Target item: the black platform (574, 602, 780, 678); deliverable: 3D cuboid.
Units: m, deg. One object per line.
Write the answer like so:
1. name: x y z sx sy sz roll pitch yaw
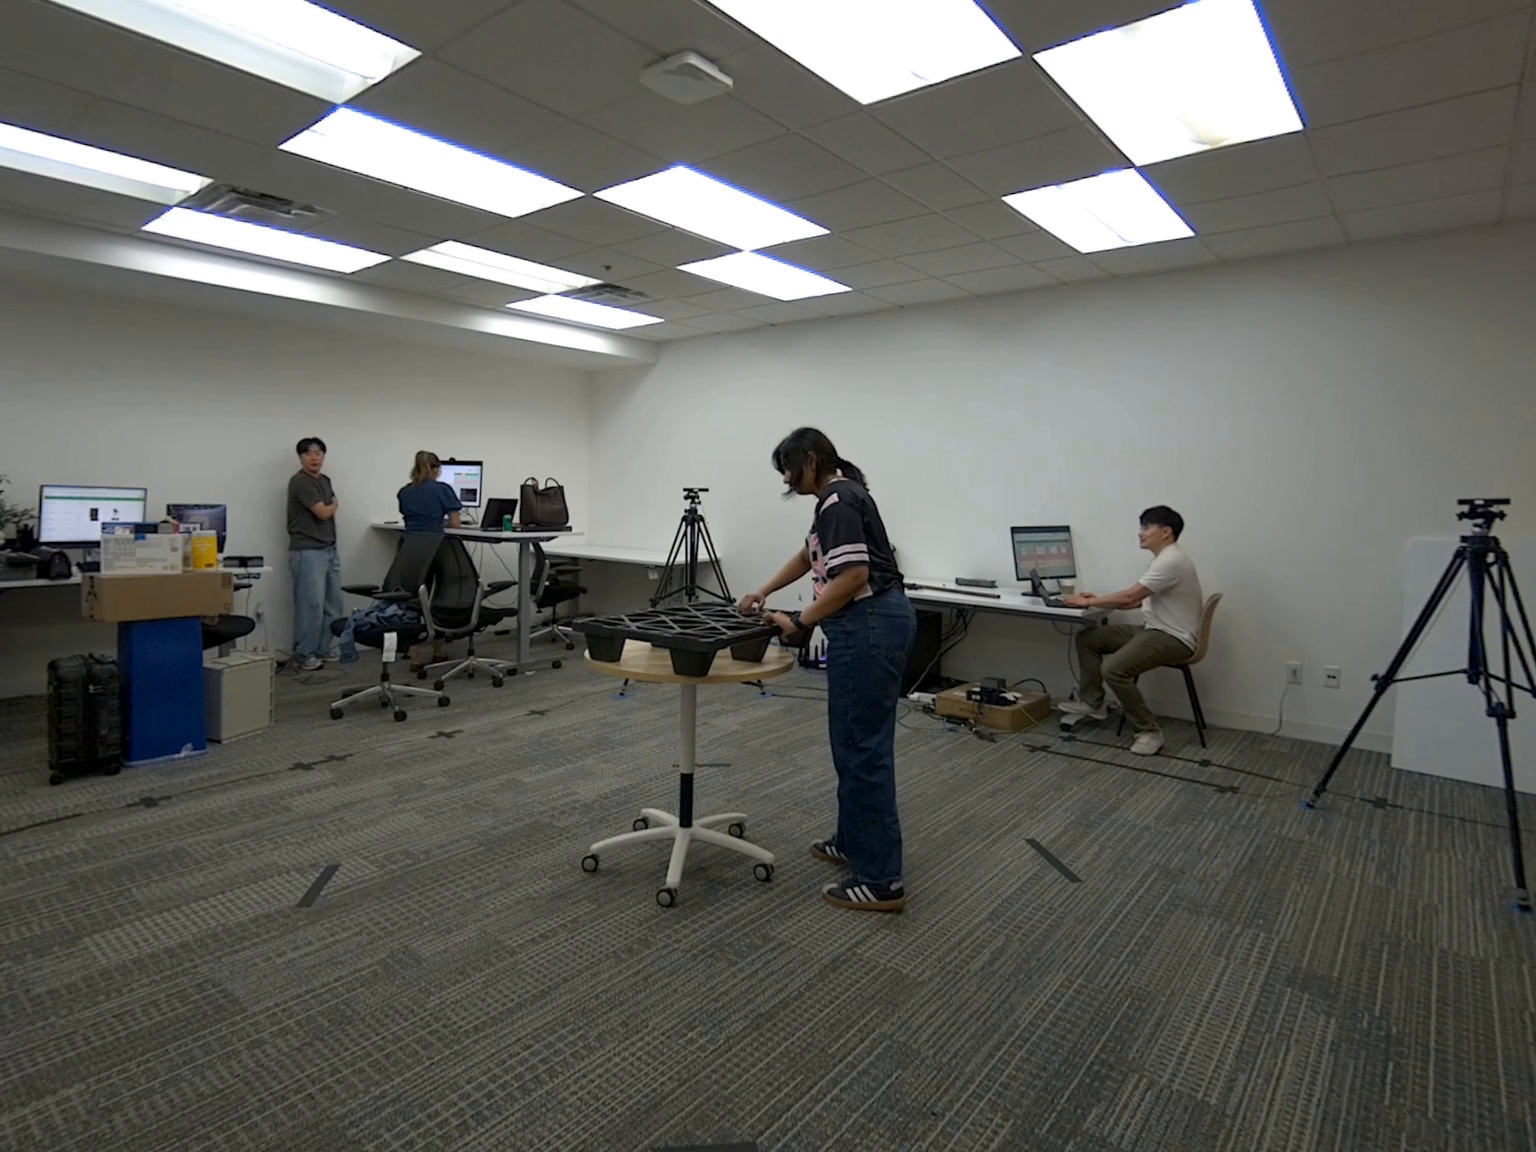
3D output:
1. black platform: -0.235 0.218 3.130 0.624 0.143 0.783 6 7 33
